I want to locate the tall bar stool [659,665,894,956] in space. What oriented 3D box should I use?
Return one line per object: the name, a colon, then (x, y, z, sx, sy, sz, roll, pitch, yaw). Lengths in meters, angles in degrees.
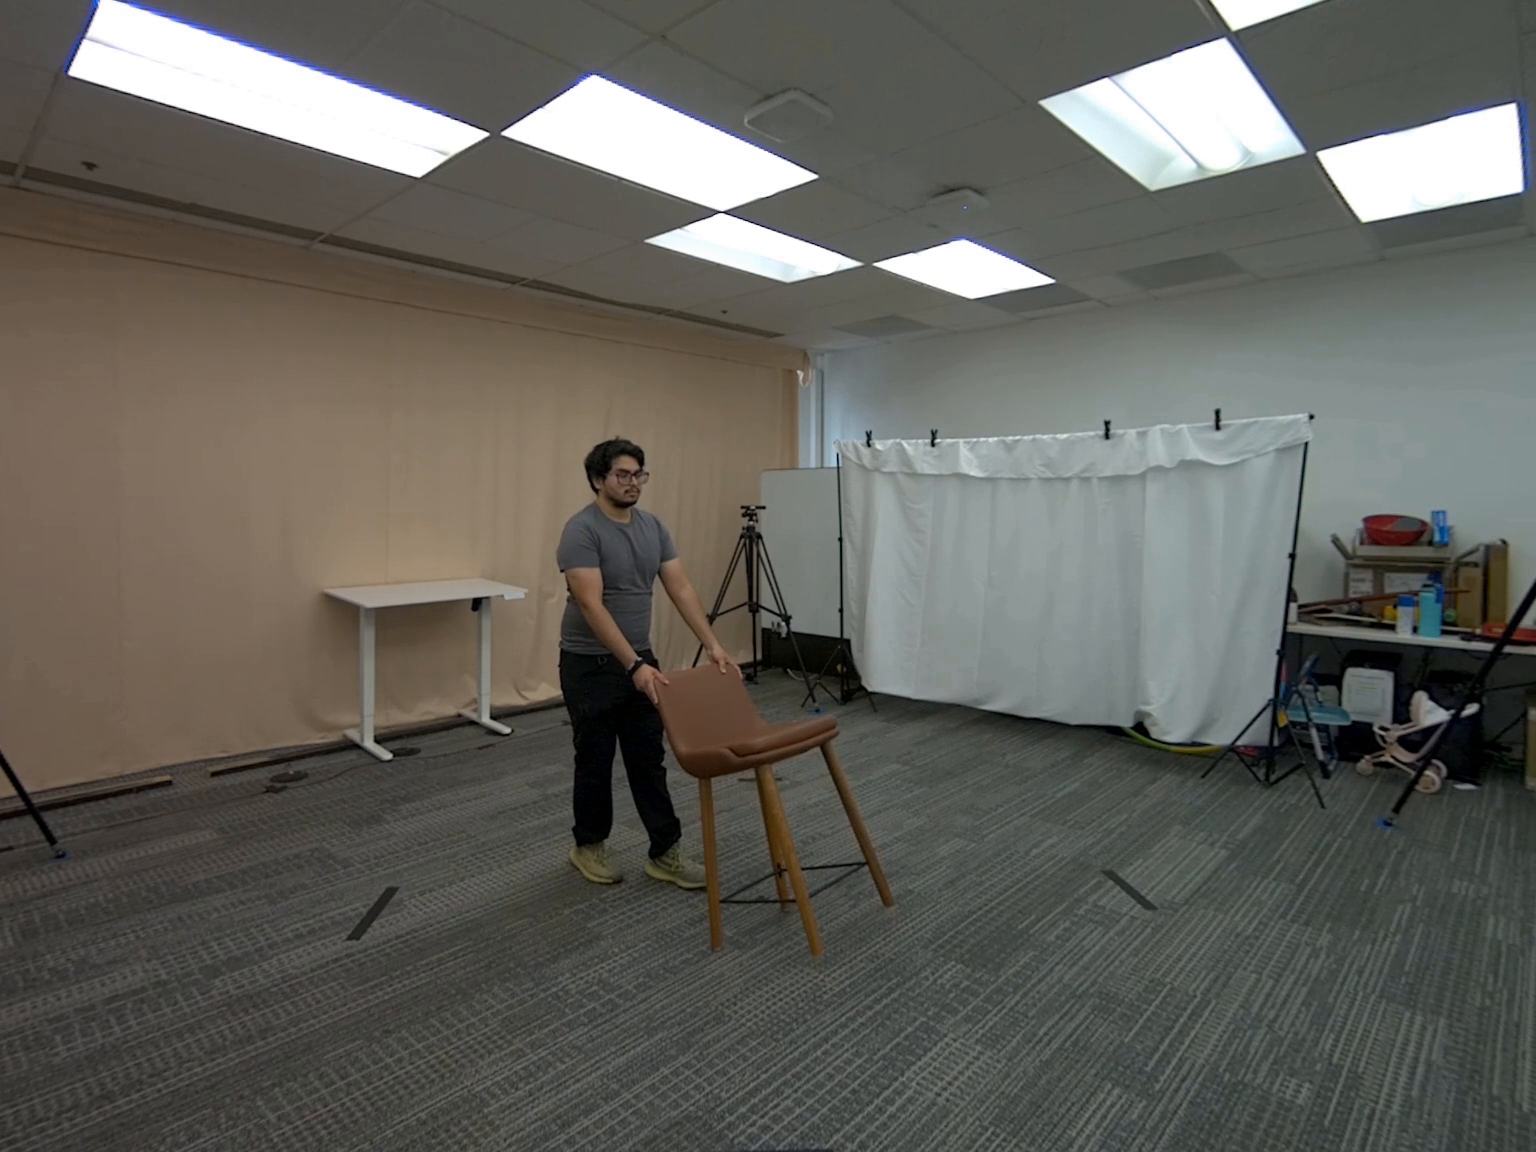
tall bar stool: (-0.005, 0.686, 2.710, 0.477, 0.898, 0.442, -25, -14, 40)
